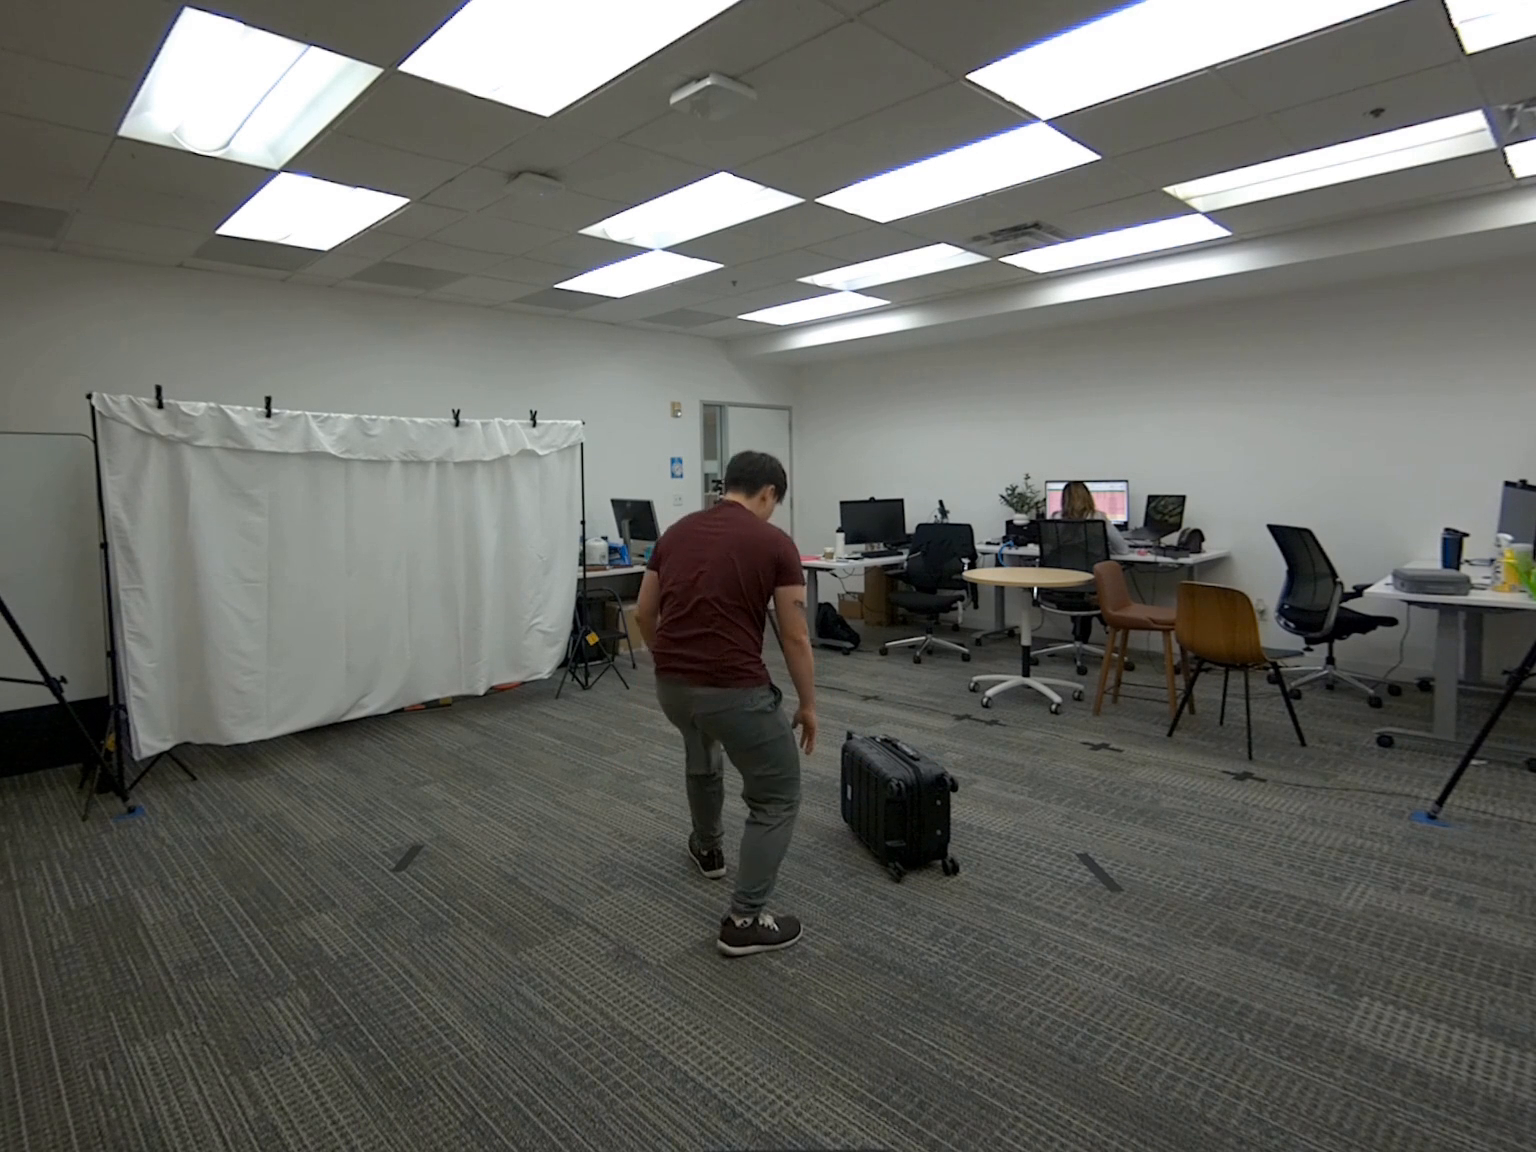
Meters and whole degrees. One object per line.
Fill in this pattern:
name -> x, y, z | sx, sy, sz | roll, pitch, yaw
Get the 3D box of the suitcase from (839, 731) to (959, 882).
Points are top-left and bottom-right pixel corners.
suitcase -> 0.406, 0.816, 3.422 | 0.253, 0.383, 0.997 | -2, 5, -17
